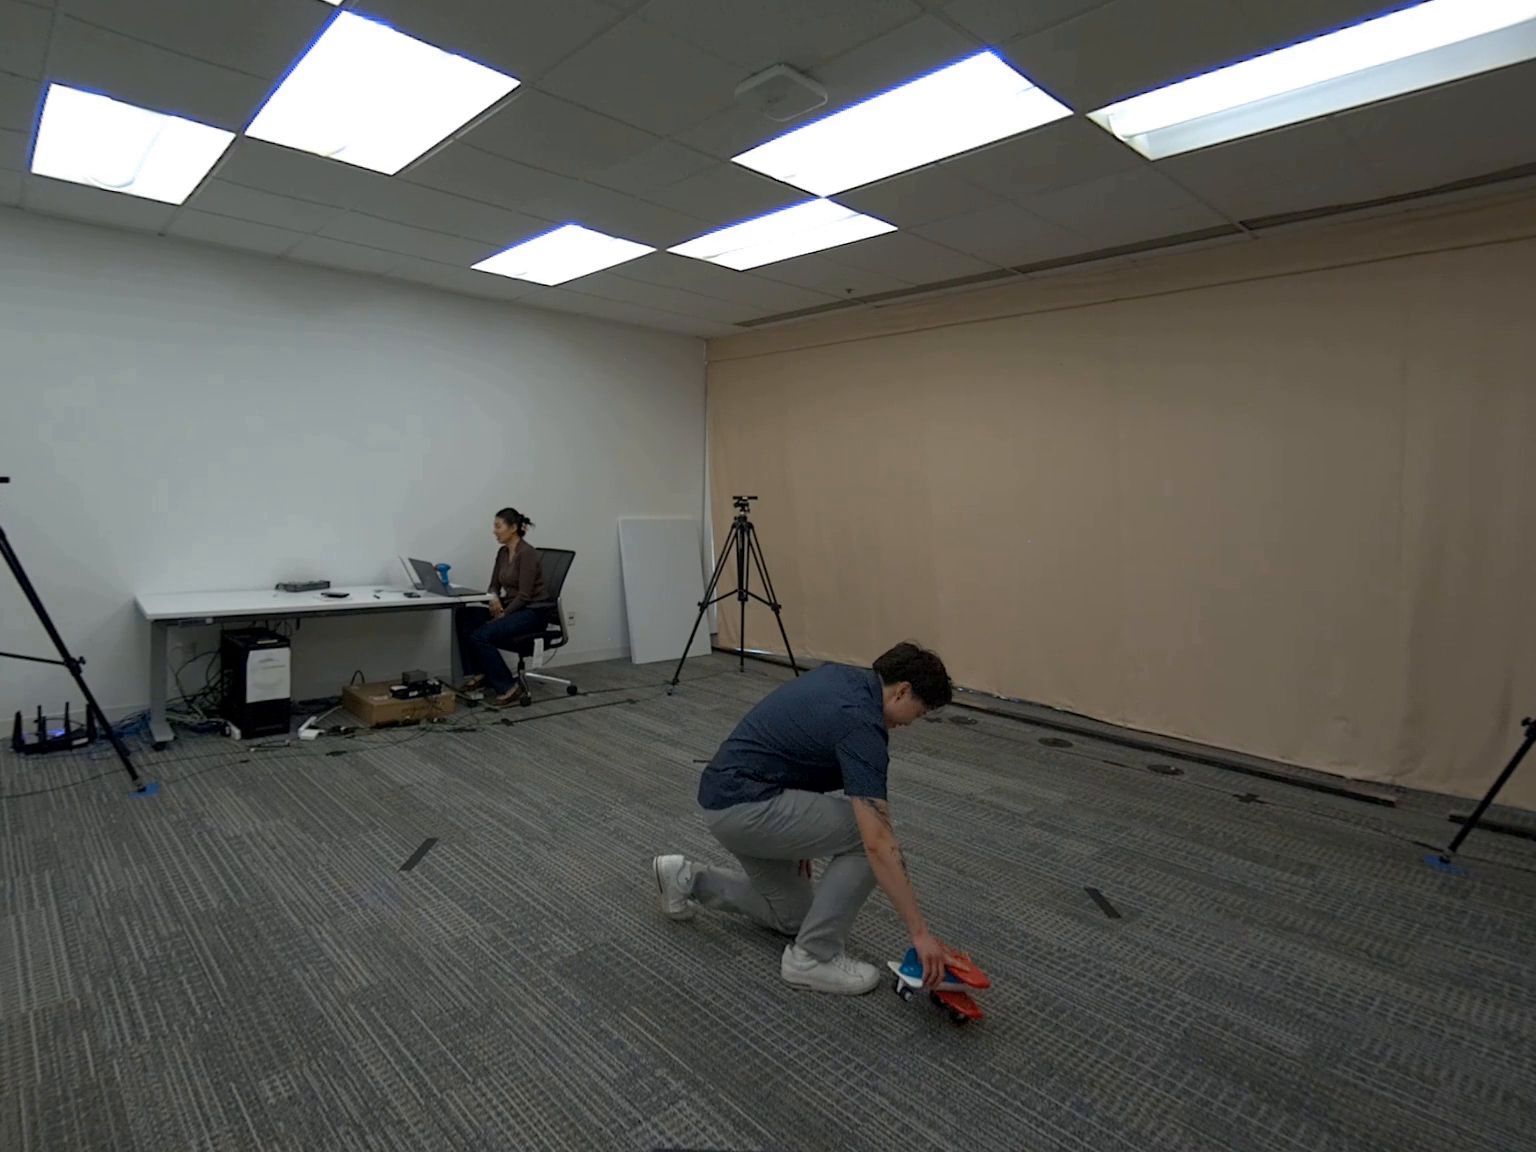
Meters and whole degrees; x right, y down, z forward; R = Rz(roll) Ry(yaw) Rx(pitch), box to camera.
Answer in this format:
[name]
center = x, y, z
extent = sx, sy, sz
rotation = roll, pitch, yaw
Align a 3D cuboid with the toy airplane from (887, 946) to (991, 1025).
[toy airplane]
center = 0.459, 1.095, 2.253
extent = 0.258, 0.157, 0.251
rotation = 22, -9, 36
